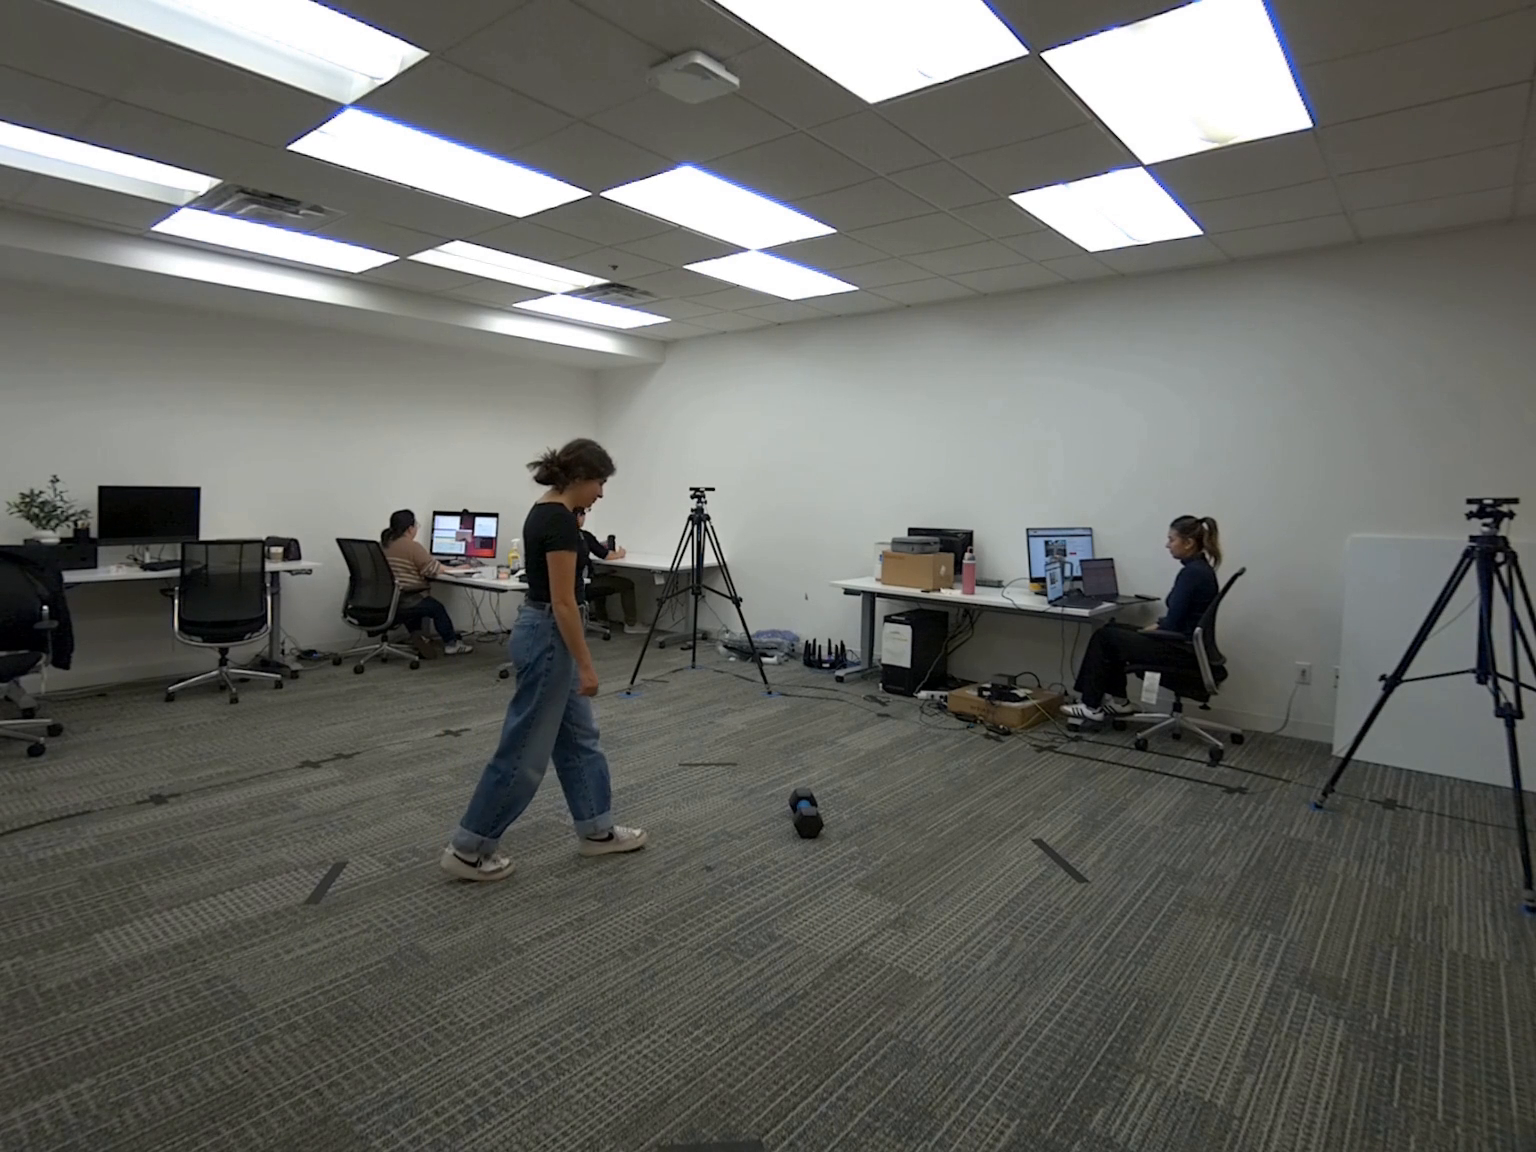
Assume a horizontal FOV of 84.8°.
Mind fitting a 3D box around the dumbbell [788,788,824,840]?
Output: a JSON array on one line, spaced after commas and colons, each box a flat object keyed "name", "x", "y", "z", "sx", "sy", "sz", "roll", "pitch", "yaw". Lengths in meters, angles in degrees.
[{"name": "dumbbell", "x": 0.151, "y": 0.980, "z": 3.536, "sx": 0.108, "sy": 0.123, "sz": 0.296, "roll": 30, "pitch": 3, "yaw": -7}]
